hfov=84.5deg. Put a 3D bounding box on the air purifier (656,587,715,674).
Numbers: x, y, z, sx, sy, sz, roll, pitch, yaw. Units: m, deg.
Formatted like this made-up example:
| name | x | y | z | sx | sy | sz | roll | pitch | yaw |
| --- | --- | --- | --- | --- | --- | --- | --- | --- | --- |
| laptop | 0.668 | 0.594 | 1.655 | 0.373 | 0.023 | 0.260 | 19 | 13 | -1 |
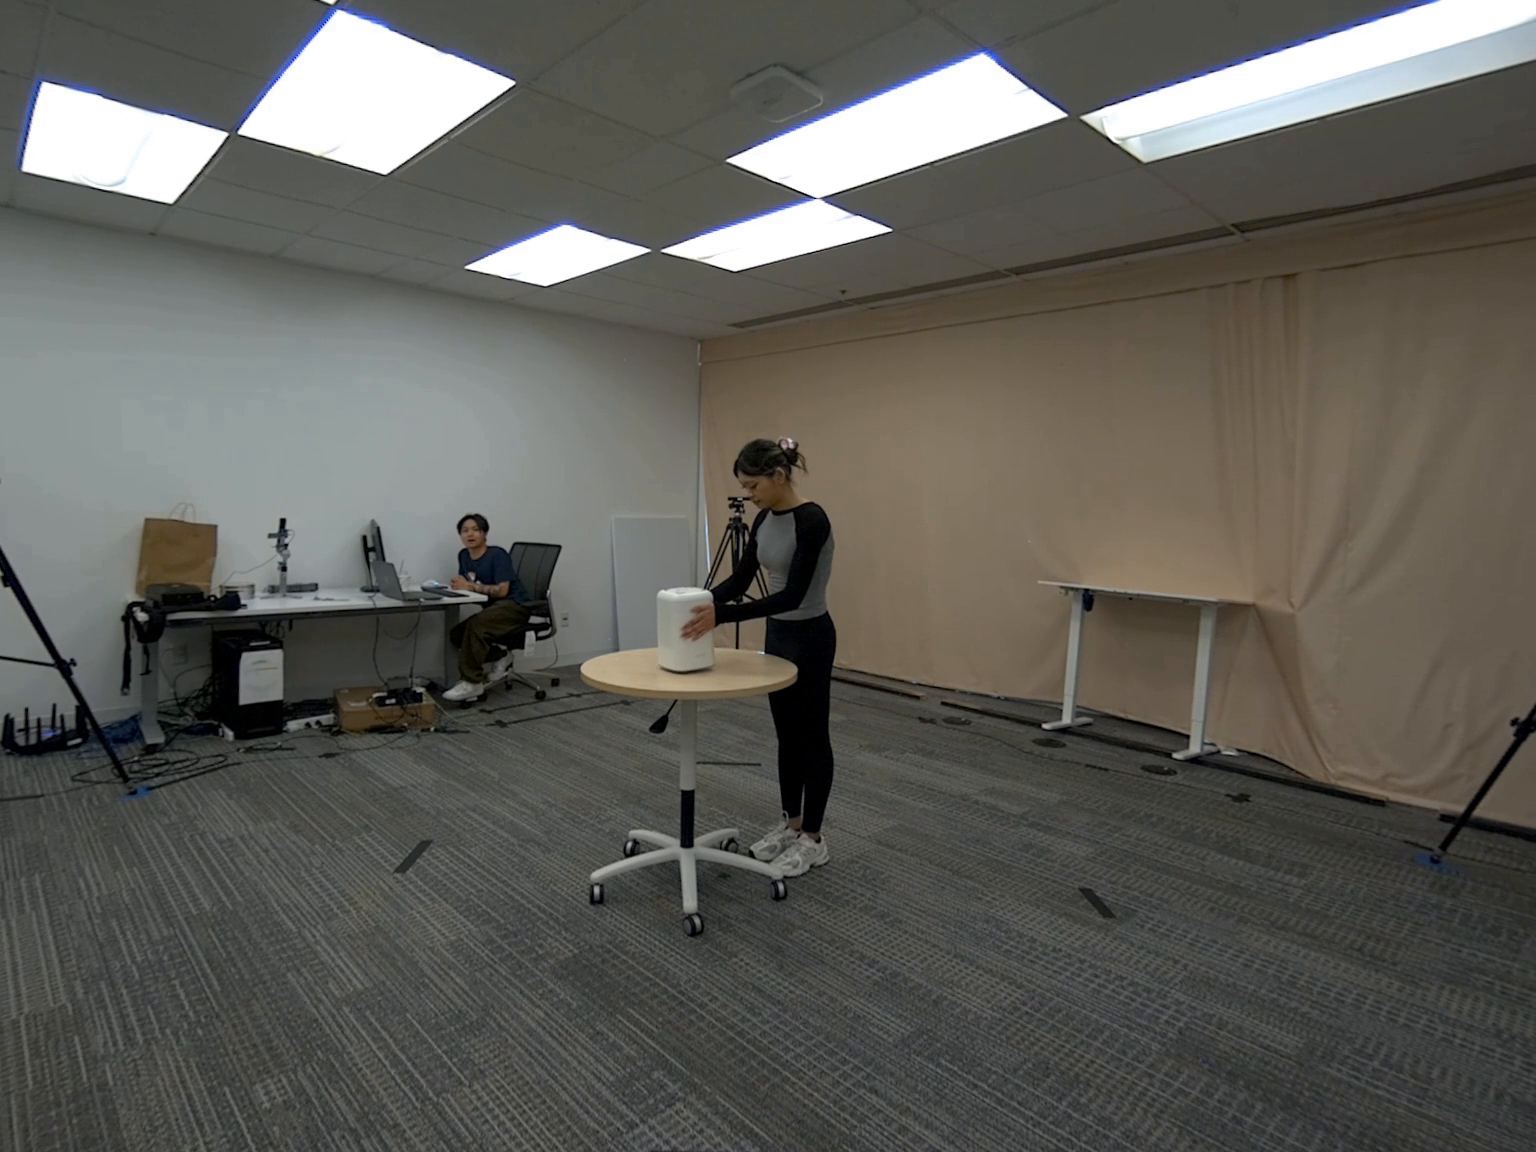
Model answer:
| name | x | y | z | sx | sy | sz | roll | pitch | yaw |
| --- | --- | --- | --- | --- | --- | --- | --- | --- | --- |
| air purifier | -0.288 | 0.181 | 2.923 | 0.167 | 0.264 | 0.176 | -5 | 9 | -37 |
